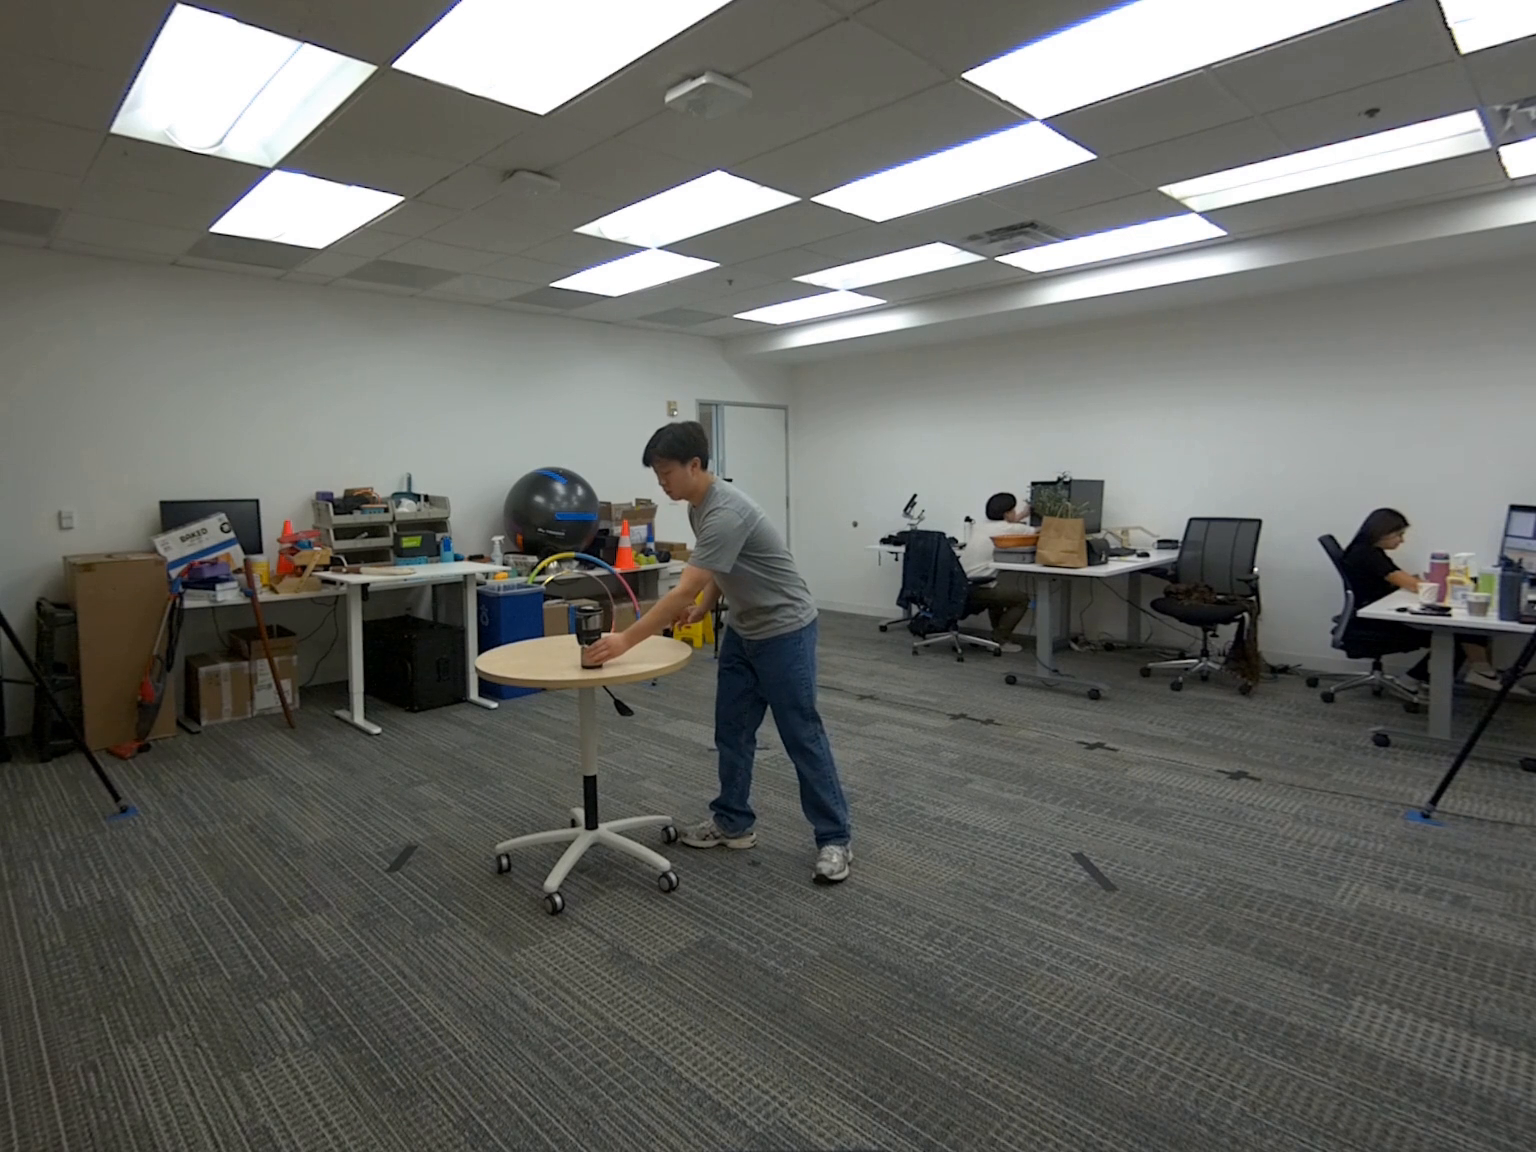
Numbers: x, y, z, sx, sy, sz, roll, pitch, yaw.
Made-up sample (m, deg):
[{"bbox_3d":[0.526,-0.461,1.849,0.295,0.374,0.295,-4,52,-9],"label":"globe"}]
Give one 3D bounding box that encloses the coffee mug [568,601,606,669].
[{"bbox_3d":[-0.606,0.203,2.824,0.090,0.202,0.119,7,8,35],"label":"coffee mug"}]
